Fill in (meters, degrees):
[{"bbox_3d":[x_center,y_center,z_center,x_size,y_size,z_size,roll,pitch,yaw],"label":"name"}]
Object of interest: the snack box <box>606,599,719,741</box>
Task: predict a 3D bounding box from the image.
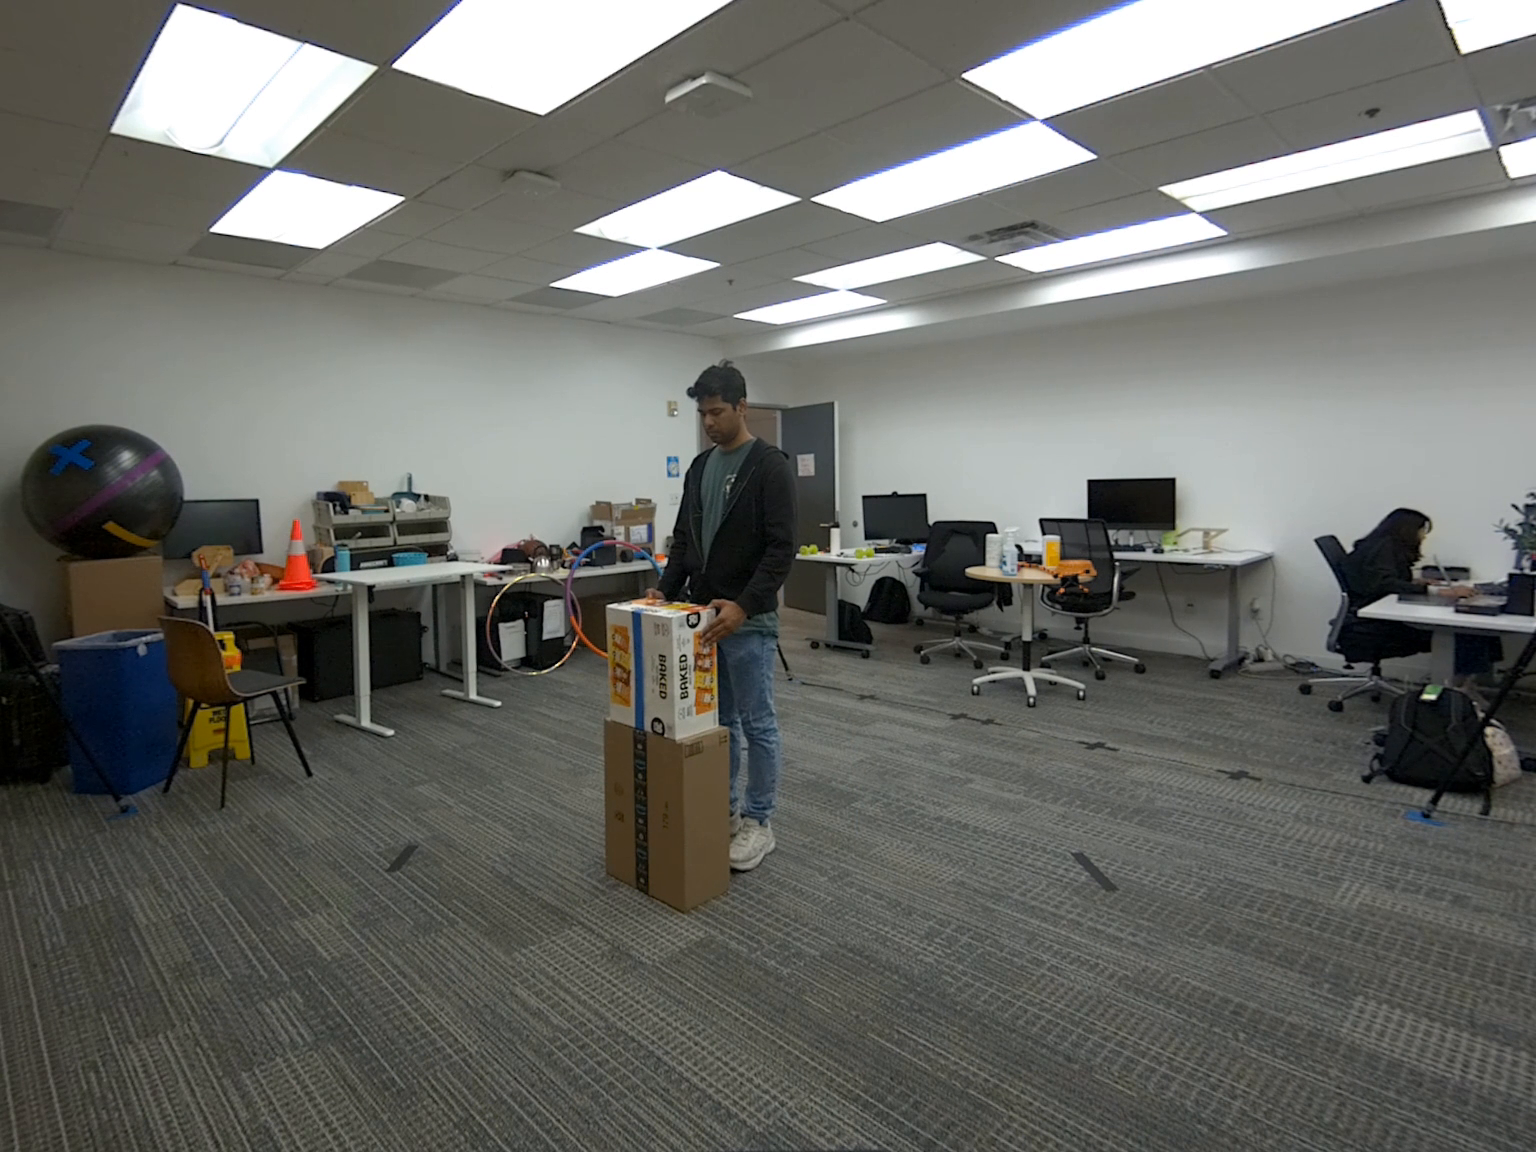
[{"bbox_3d":[-0.359,0.303,2.911,0.351,0.403,0.200,3,7,44],"label":"snack box"}]
